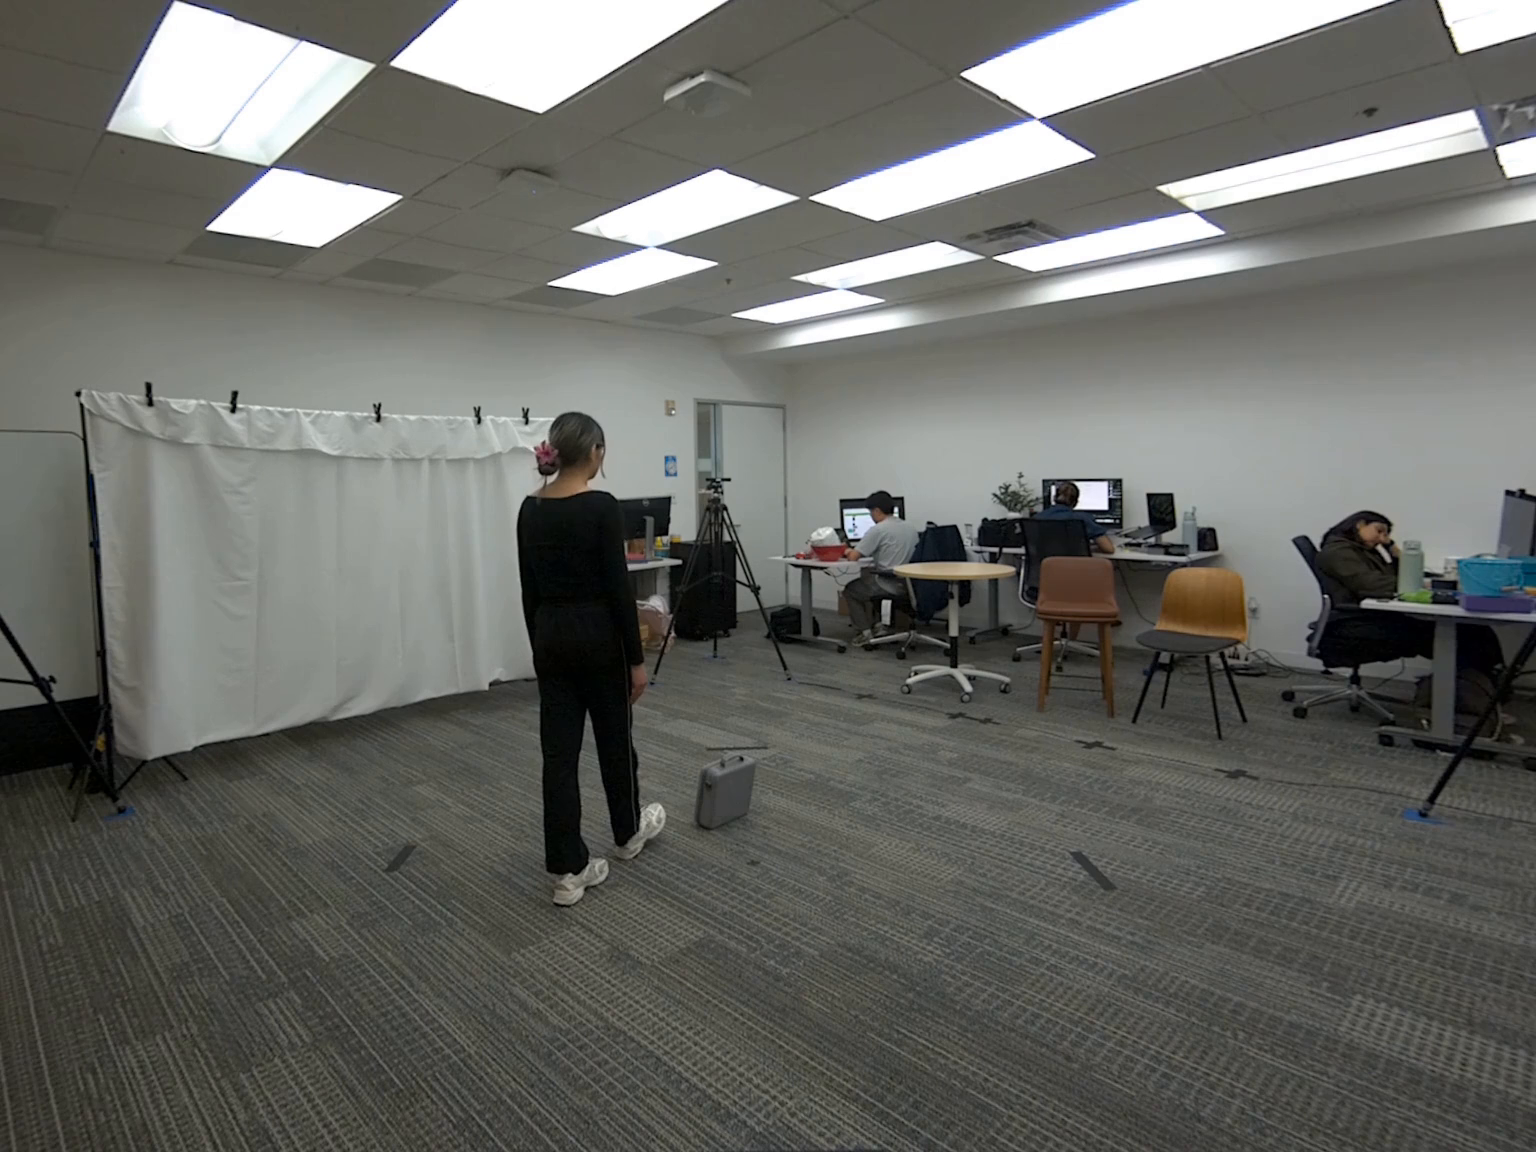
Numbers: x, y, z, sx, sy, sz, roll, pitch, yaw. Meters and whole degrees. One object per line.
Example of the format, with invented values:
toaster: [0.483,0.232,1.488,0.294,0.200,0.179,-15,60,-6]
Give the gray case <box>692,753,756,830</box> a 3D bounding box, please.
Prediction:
gray case: [-0.169,0.867,3.483,0.108,0.258,0.250,18,16,40]
